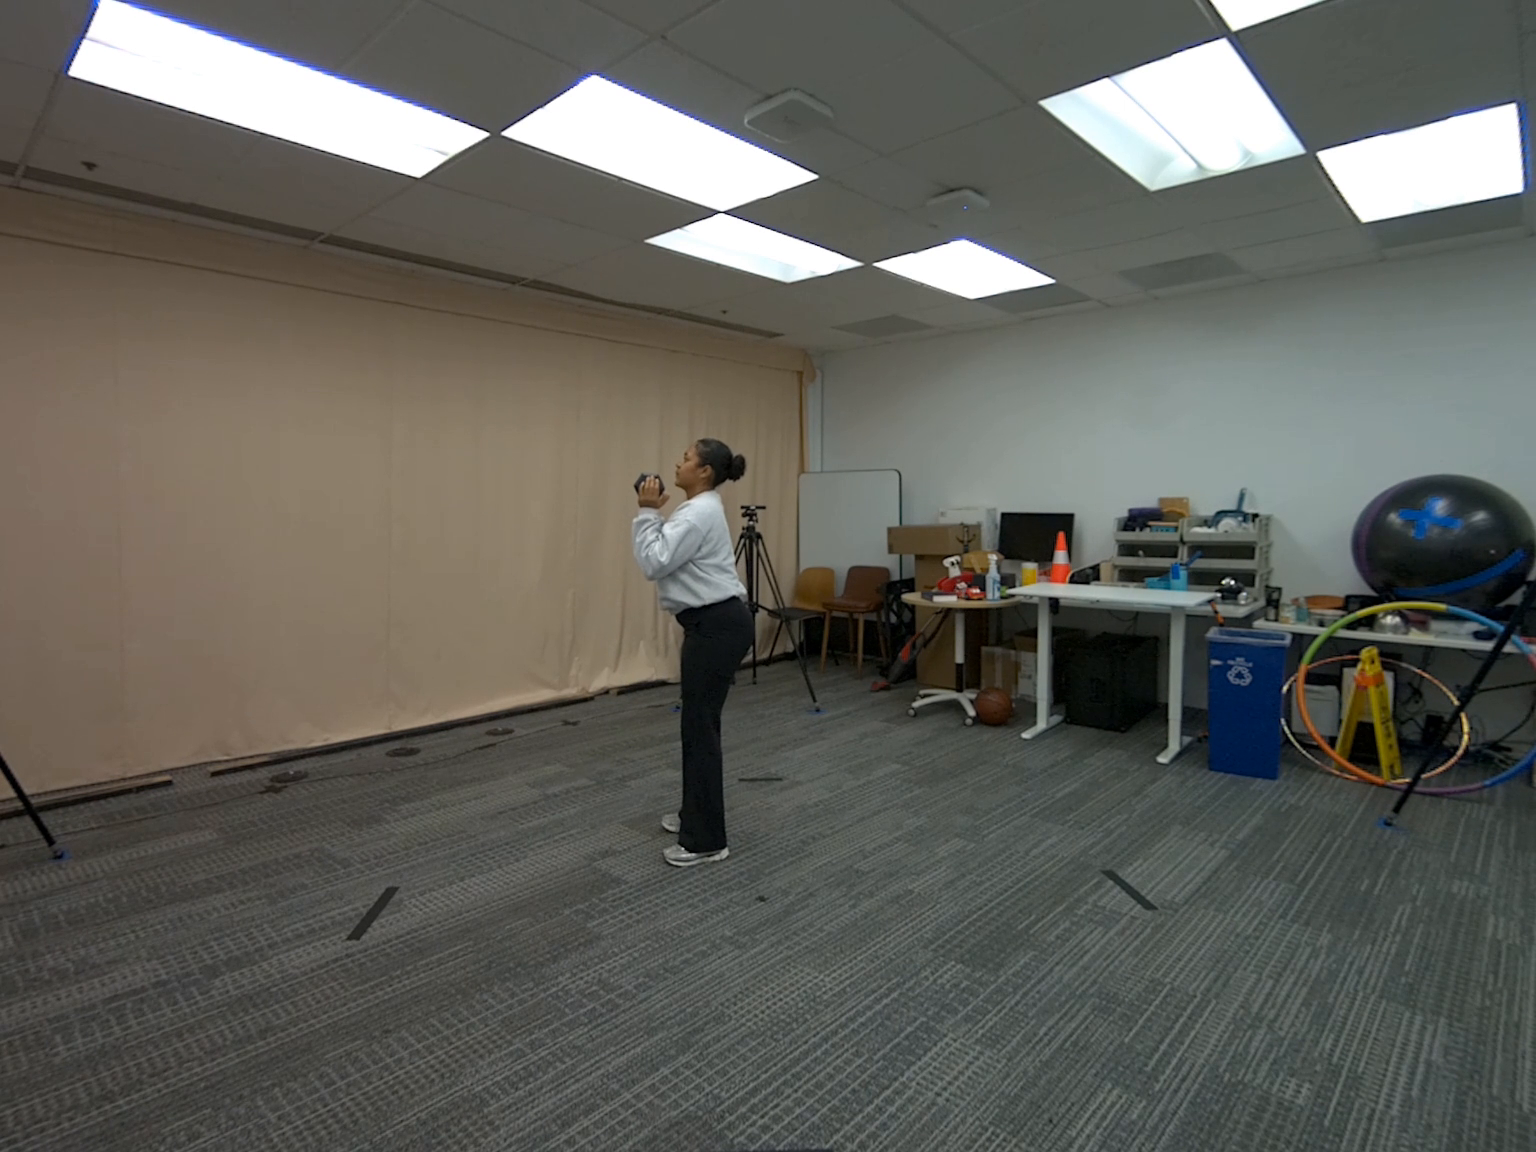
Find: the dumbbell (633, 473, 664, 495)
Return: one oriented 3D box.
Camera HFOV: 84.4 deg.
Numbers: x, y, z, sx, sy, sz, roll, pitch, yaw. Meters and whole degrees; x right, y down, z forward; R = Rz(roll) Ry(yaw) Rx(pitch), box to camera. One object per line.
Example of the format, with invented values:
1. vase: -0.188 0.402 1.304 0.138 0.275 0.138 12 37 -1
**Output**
1. dumbbell: -0.468 -0.343 3.400 0.108 0.123 0.295 37 -1 -7
